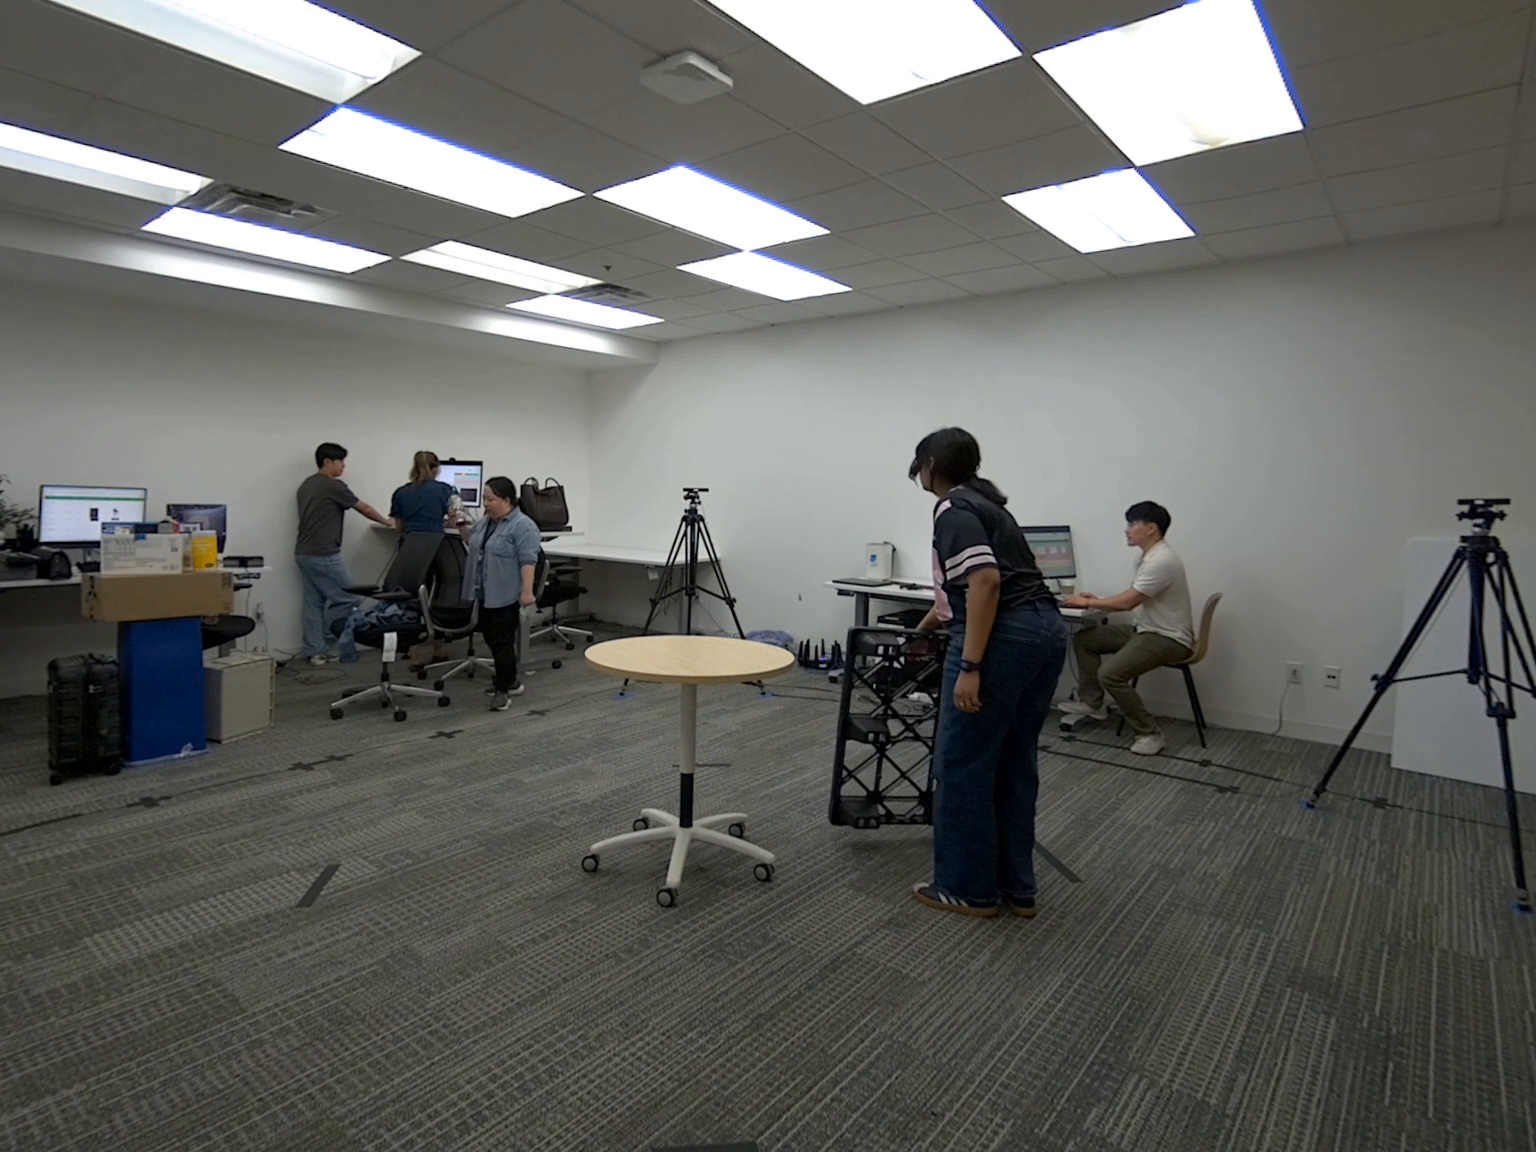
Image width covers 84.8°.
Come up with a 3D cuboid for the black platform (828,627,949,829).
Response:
[{"bbox_3d":[0.567,0.611,3.342,0.598,0.801,0.146,4,6,-11],"label":"black platform"}]
